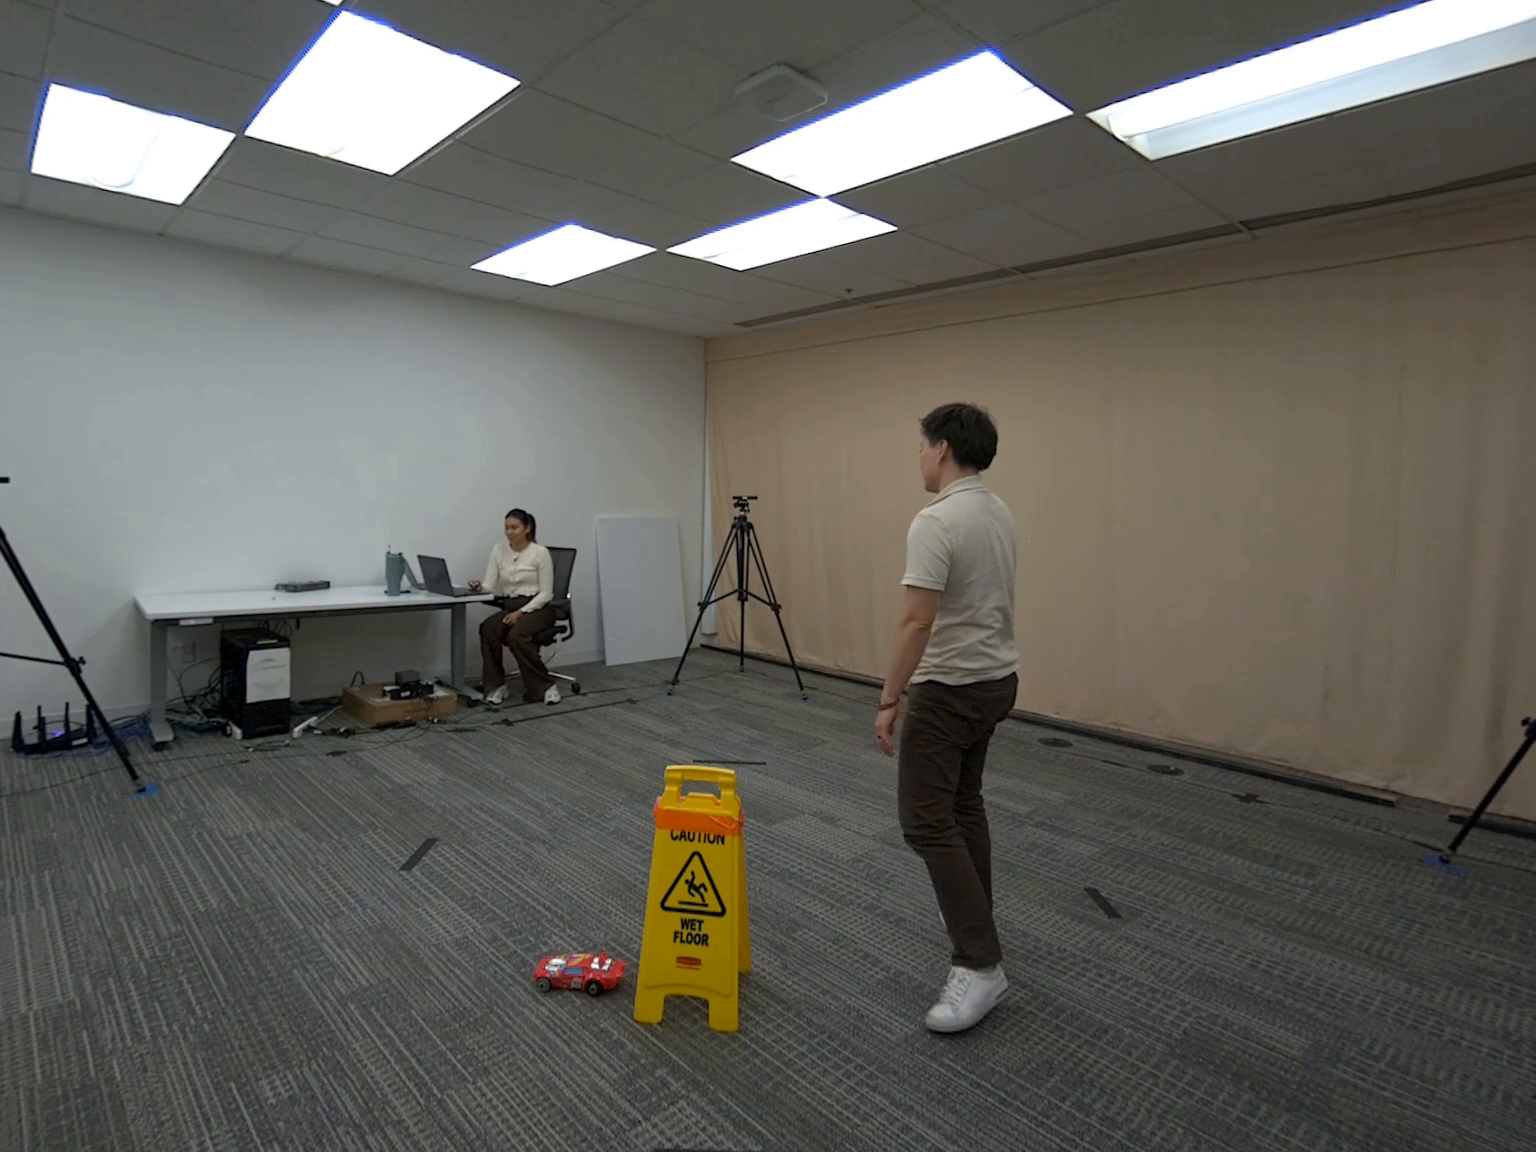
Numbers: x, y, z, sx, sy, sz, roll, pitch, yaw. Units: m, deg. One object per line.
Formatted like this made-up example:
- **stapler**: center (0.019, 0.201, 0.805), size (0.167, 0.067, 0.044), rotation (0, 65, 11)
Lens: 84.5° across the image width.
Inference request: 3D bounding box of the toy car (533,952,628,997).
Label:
- **toy car**: center (-0.530, 1.123, 2.392), size (0.256, 0.083, 0.130), rotation (-9, 3, 7)
